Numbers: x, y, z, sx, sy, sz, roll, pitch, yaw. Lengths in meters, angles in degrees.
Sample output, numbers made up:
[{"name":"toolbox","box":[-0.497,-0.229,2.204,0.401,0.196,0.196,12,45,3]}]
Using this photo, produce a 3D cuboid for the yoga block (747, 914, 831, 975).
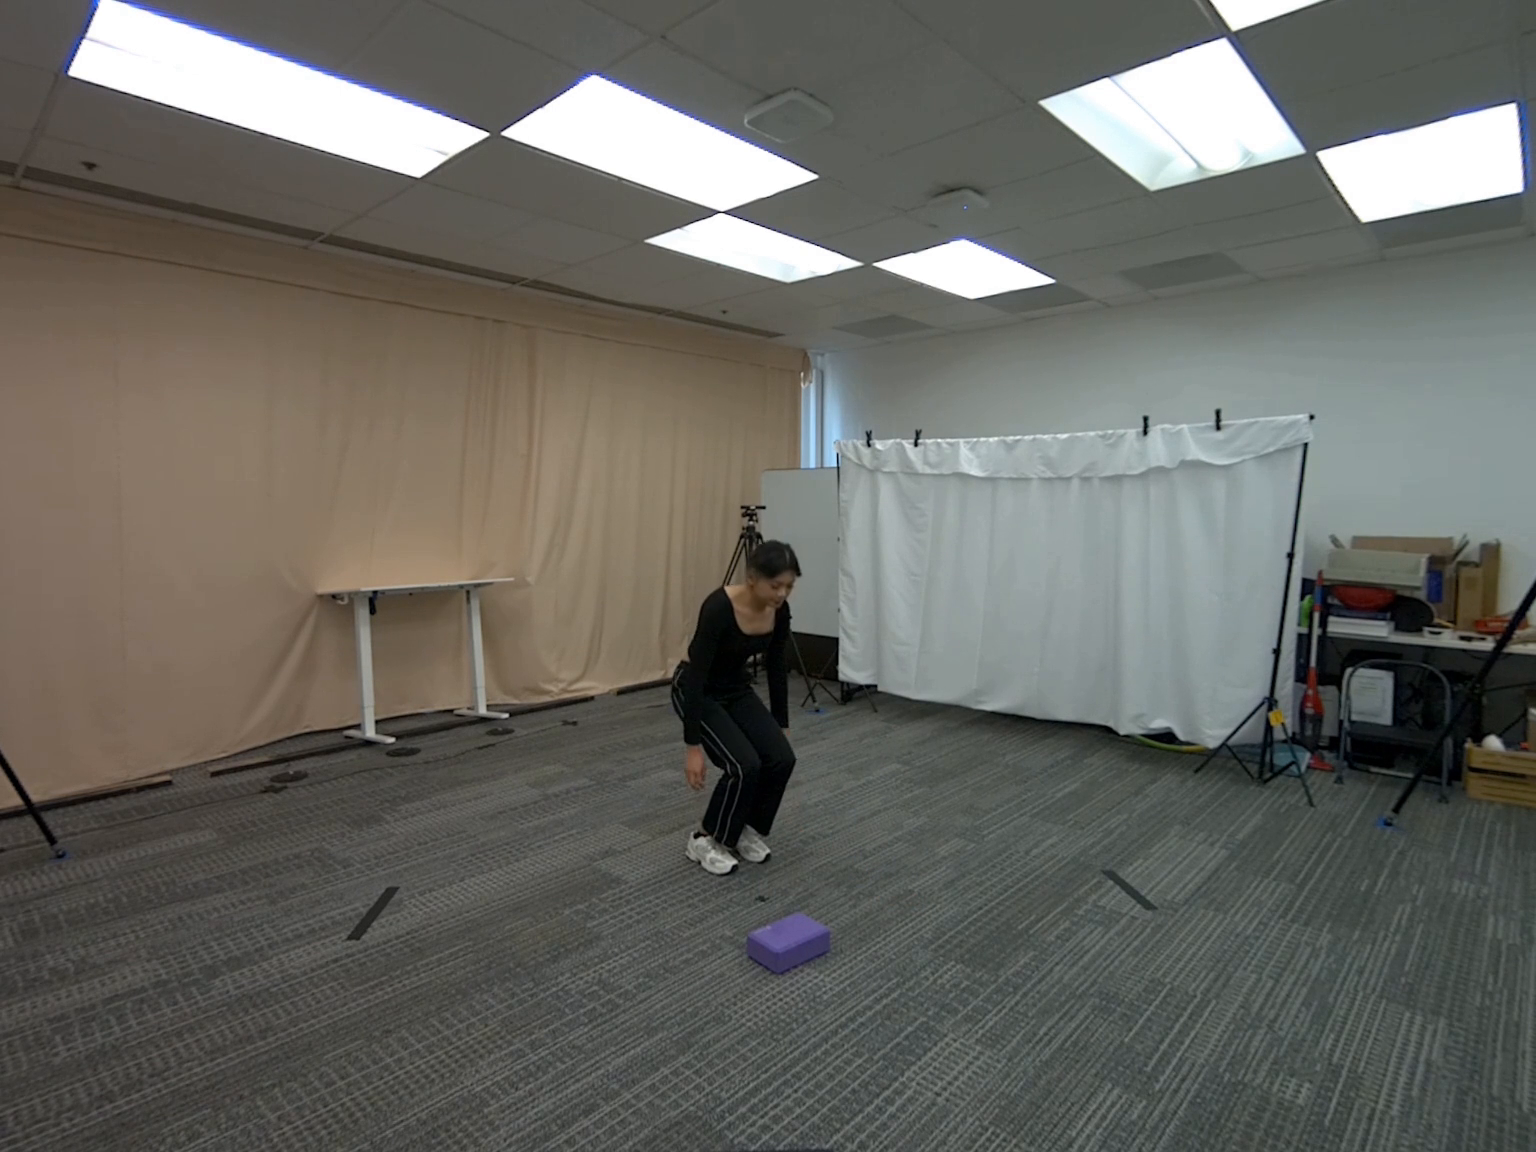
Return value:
[{"name":"yoga block","box":[0.068,1.131,2.615,0.222,0.076,0.154,-5,6,-40]}]
